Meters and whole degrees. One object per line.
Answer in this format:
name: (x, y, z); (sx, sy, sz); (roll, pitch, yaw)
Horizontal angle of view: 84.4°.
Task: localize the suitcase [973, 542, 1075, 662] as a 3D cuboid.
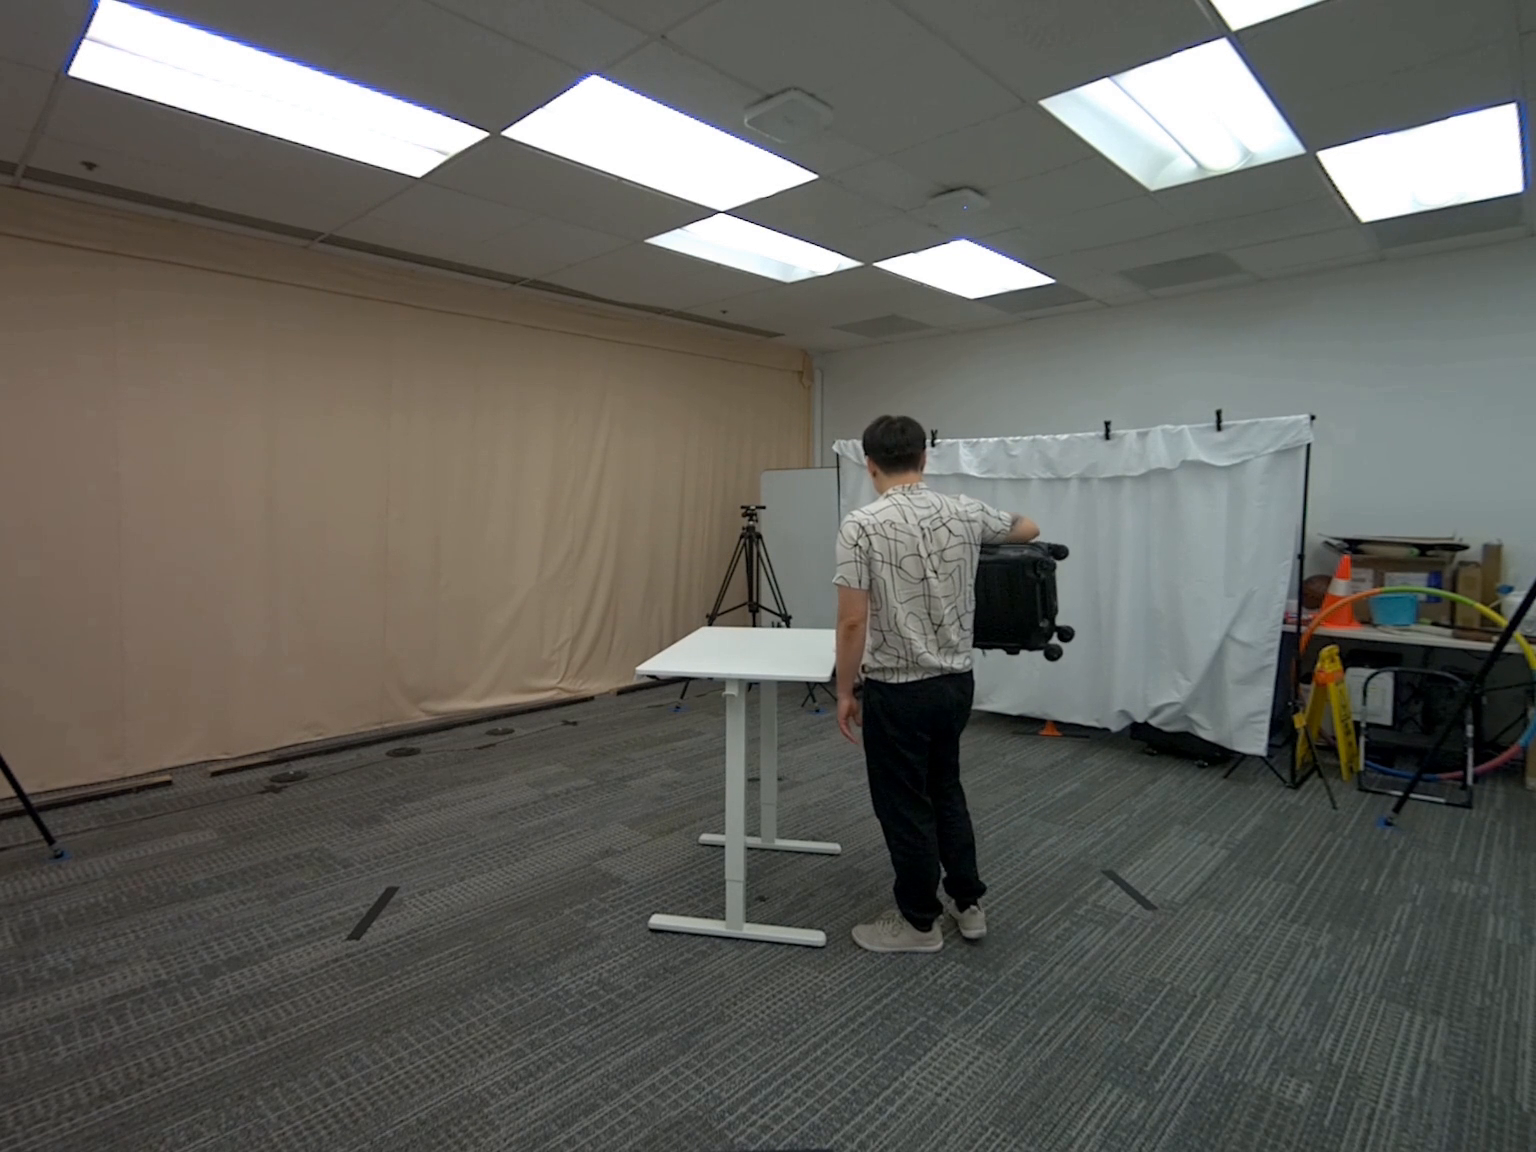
suitcase: (0.754, 0.067, 2.972); (0.565, 0.372, 0.243); (0, 13, 32)
